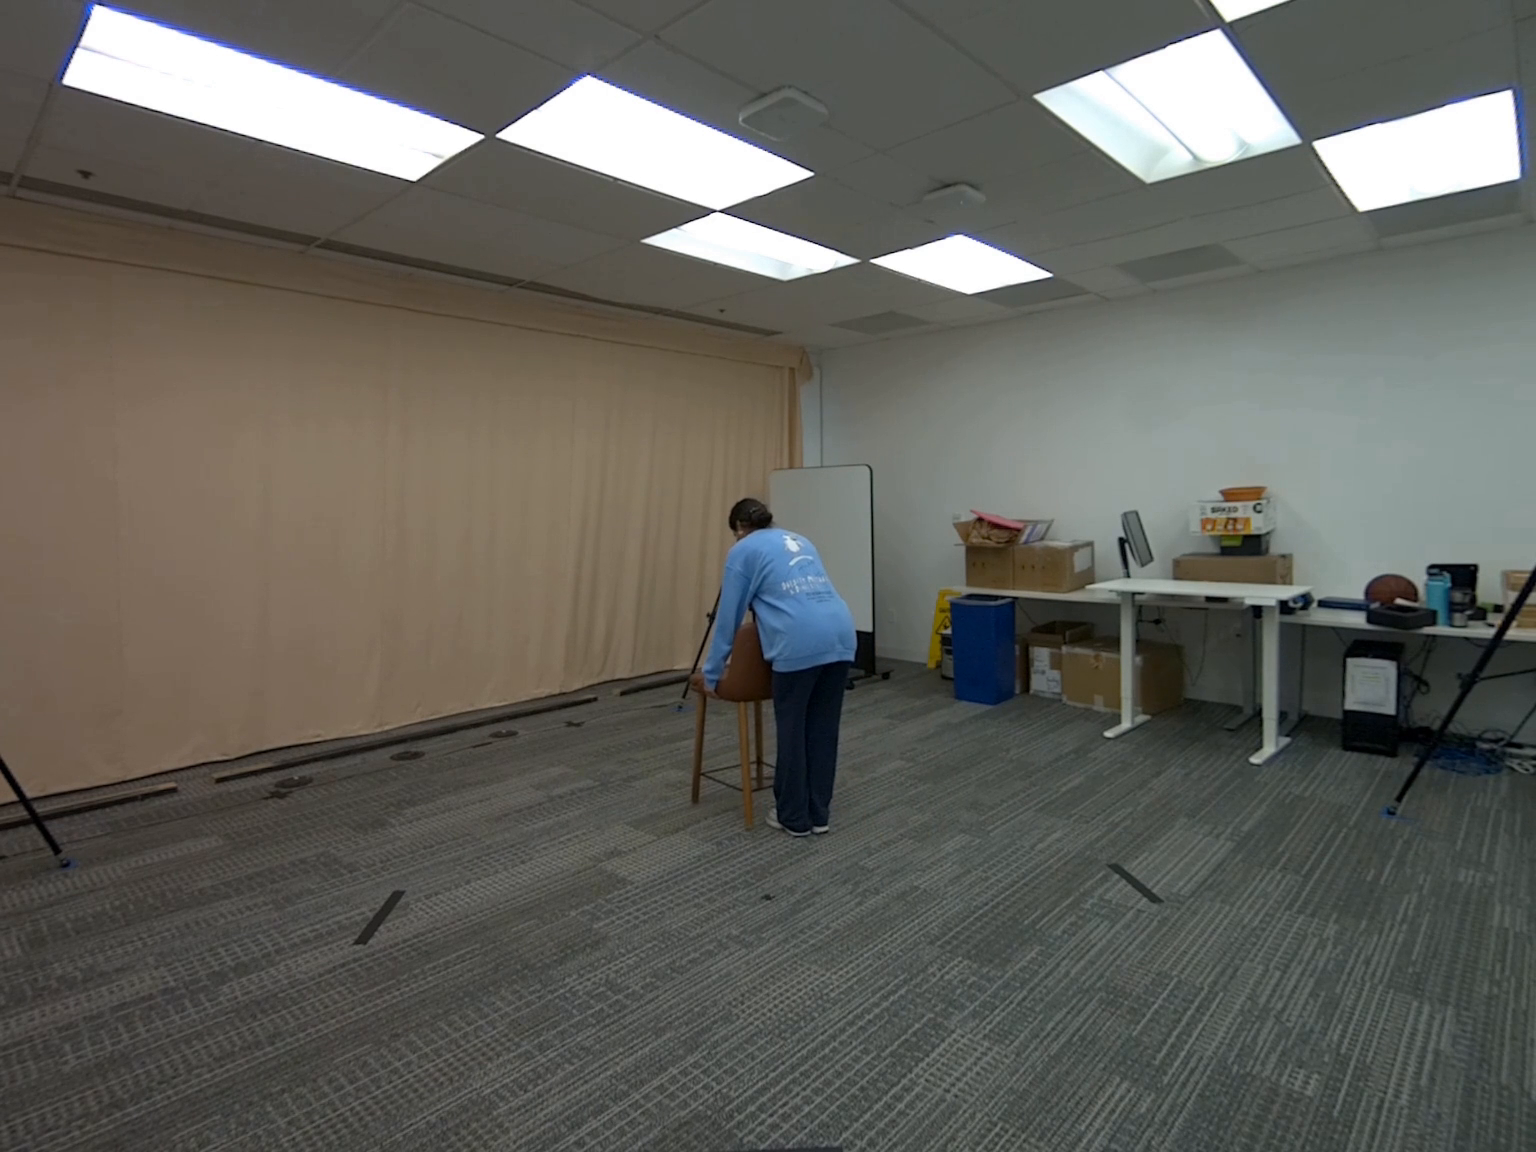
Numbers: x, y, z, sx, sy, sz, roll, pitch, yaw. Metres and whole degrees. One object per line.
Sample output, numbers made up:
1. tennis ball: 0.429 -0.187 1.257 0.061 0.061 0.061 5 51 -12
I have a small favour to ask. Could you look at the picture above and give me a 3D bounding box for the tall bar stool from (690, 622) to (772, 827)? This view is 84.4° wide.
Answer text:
1. tall bar stool: -0.077 0.622 3.863 0.443 0.888 0.482 -3 4 -35
